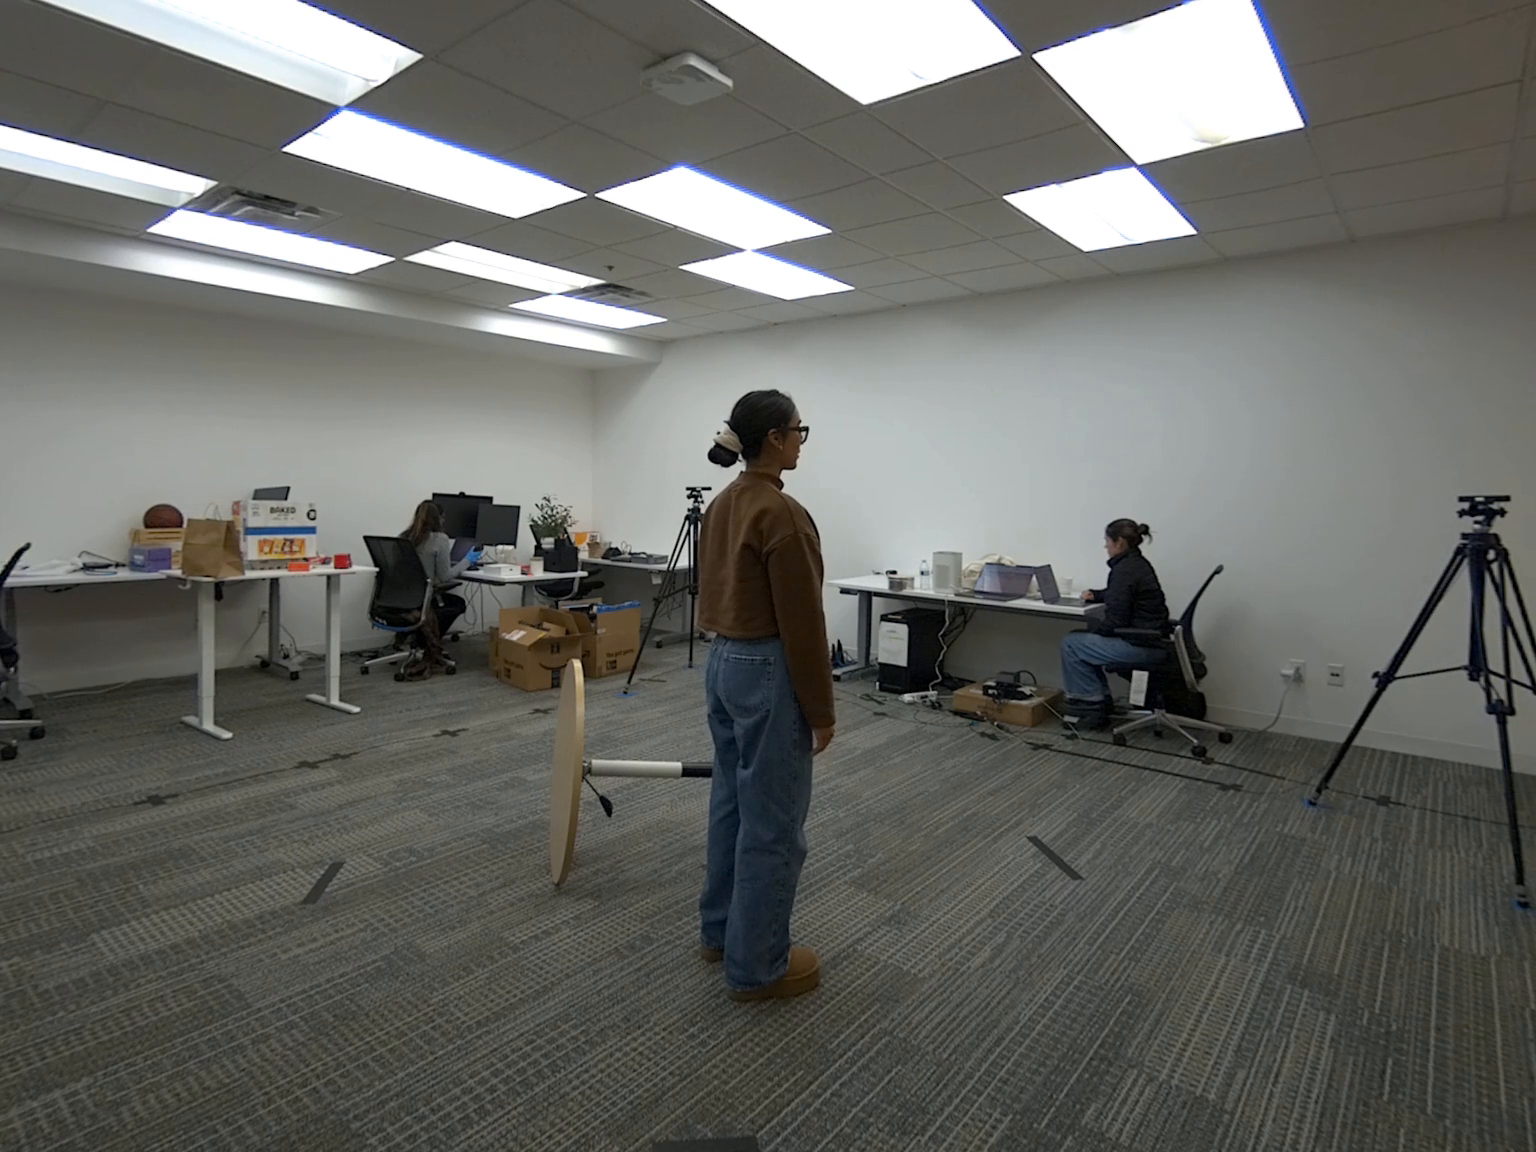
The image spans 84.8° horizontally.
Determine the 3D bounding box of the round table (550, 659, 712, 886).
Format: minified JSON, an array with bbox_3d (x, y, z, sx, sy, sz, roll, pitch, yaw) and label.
[{"bbox_3d":[-0.372,0.720,3.129,0.781,0.763,0.779,5,3,-16],"label":"round table"}]
